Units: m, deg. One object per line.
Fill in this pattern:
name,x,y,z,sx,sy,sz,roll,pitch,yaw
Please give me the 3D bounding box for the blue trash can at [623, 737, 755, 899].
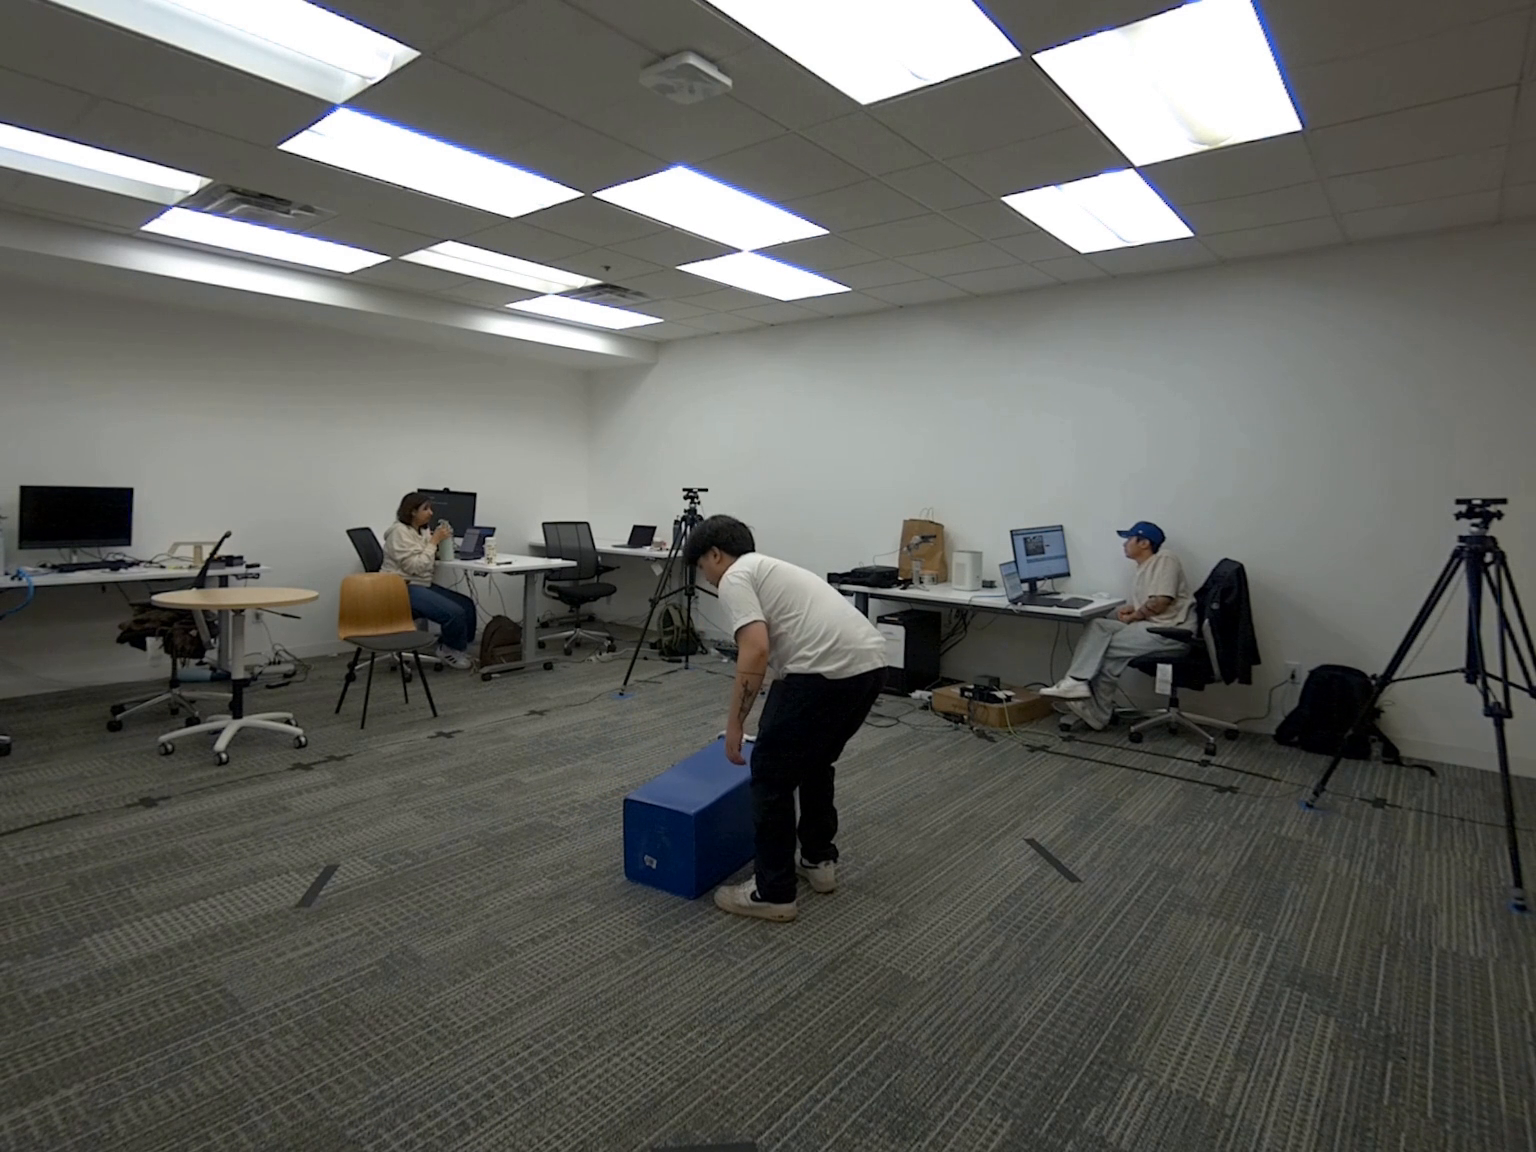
blue trash can,-0.226,0.896,3.232,0.389,0.371,0.698,4,9,29
